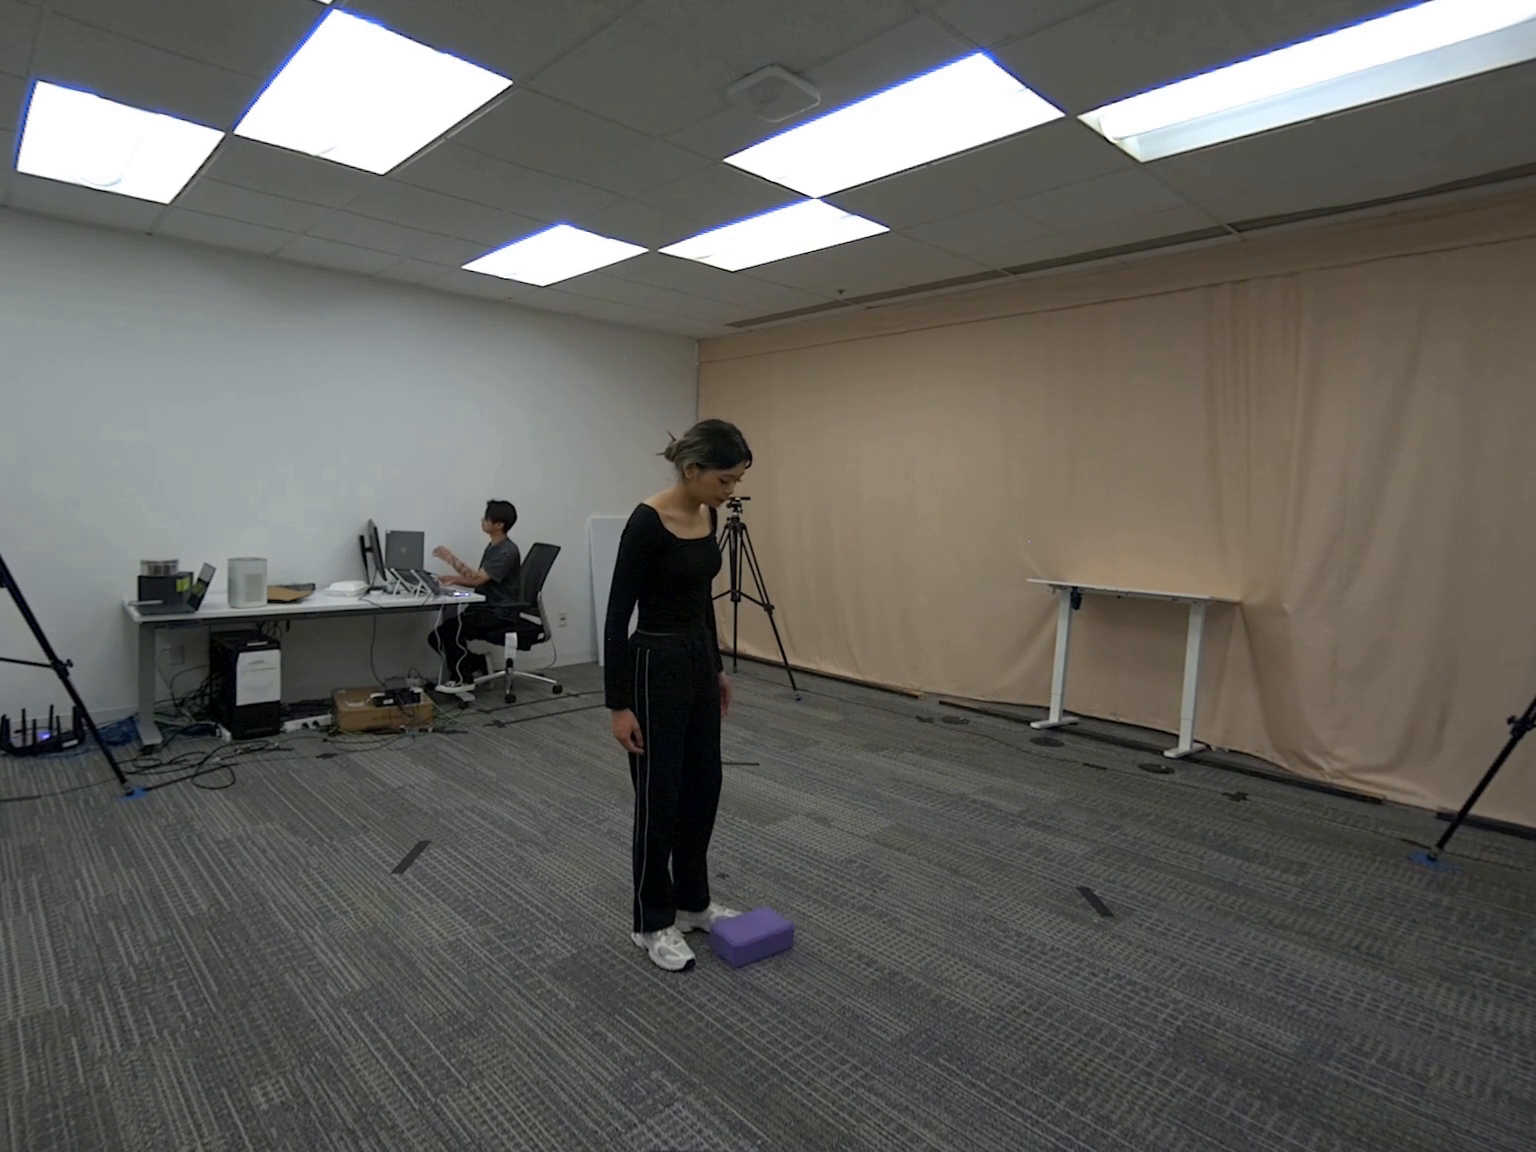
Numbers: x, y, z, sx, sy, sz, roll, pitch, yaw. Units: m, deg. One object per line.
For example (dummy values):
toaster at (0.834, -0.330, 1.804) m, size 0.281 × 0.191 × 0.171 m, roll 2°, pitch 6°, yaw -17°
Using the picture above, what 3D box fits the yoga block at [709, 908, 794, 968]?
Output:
yoga block at (-0.060, 1.111, 2.610) m, size 0.224 × 0.076 × 0.153 m, roll -2°, pitch 7°, yaw -34°
